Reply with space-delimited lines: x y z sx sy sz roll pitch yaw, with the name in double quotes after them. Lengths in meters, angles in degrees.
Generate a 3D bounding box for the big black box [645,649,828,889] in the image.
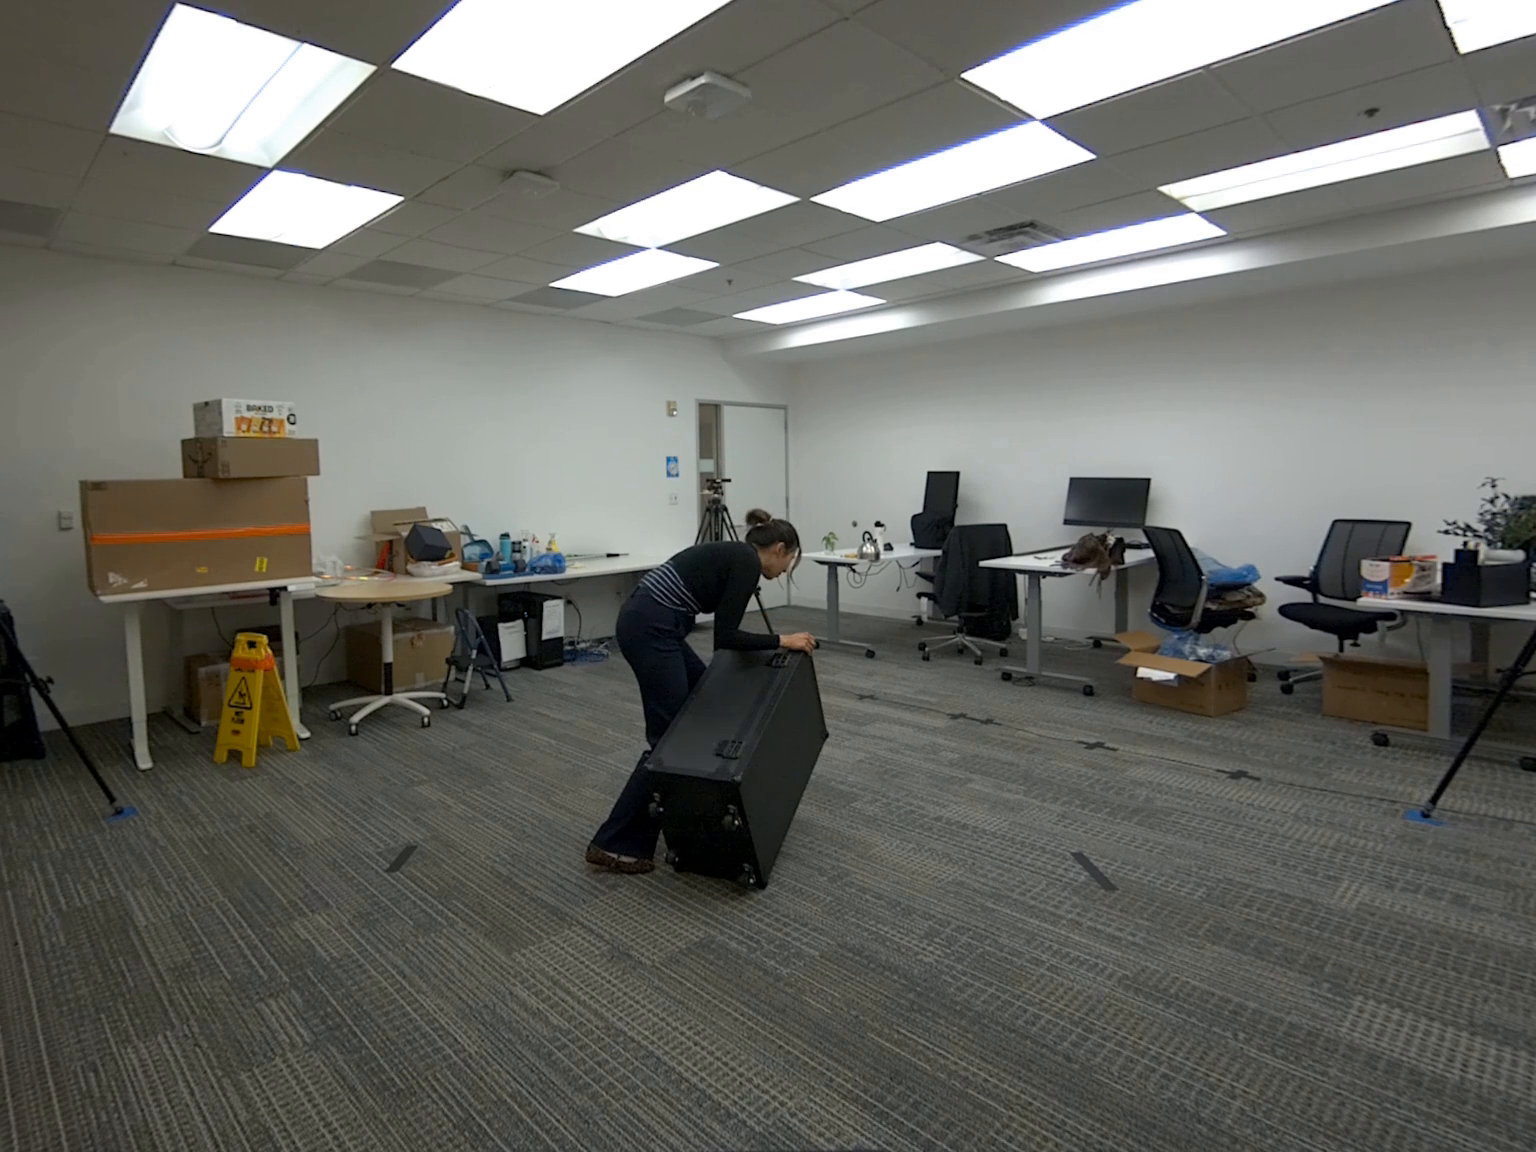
-0.098 0.666 3.157 0.405 0.508 0.865 0 30 24 "big black box"
